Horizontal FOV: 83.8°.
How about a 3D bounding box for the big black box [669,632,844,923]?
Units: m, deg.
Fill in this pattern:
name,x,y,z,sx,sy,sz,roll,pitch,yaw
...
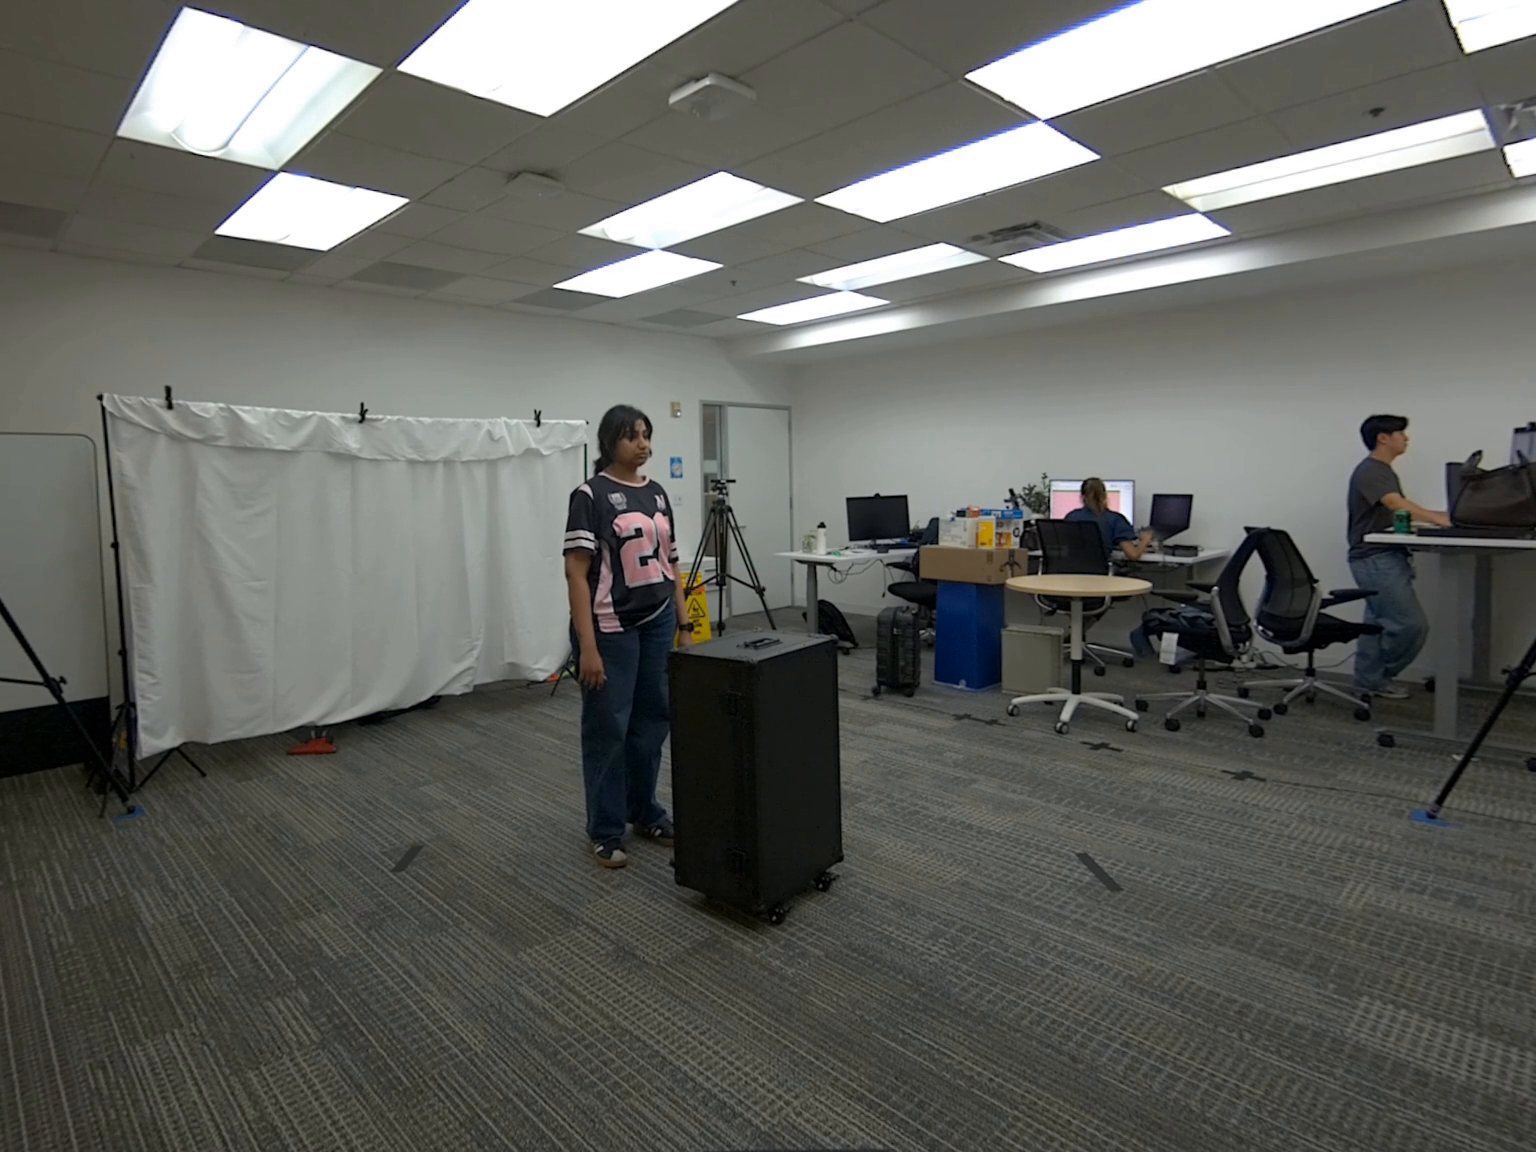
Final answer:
name,x,y,z,sx,sy,sz,roll,pitch,yaw
big black box,-0.039,0.654,2.865,0.396,0.866,0.510,0,4,37
